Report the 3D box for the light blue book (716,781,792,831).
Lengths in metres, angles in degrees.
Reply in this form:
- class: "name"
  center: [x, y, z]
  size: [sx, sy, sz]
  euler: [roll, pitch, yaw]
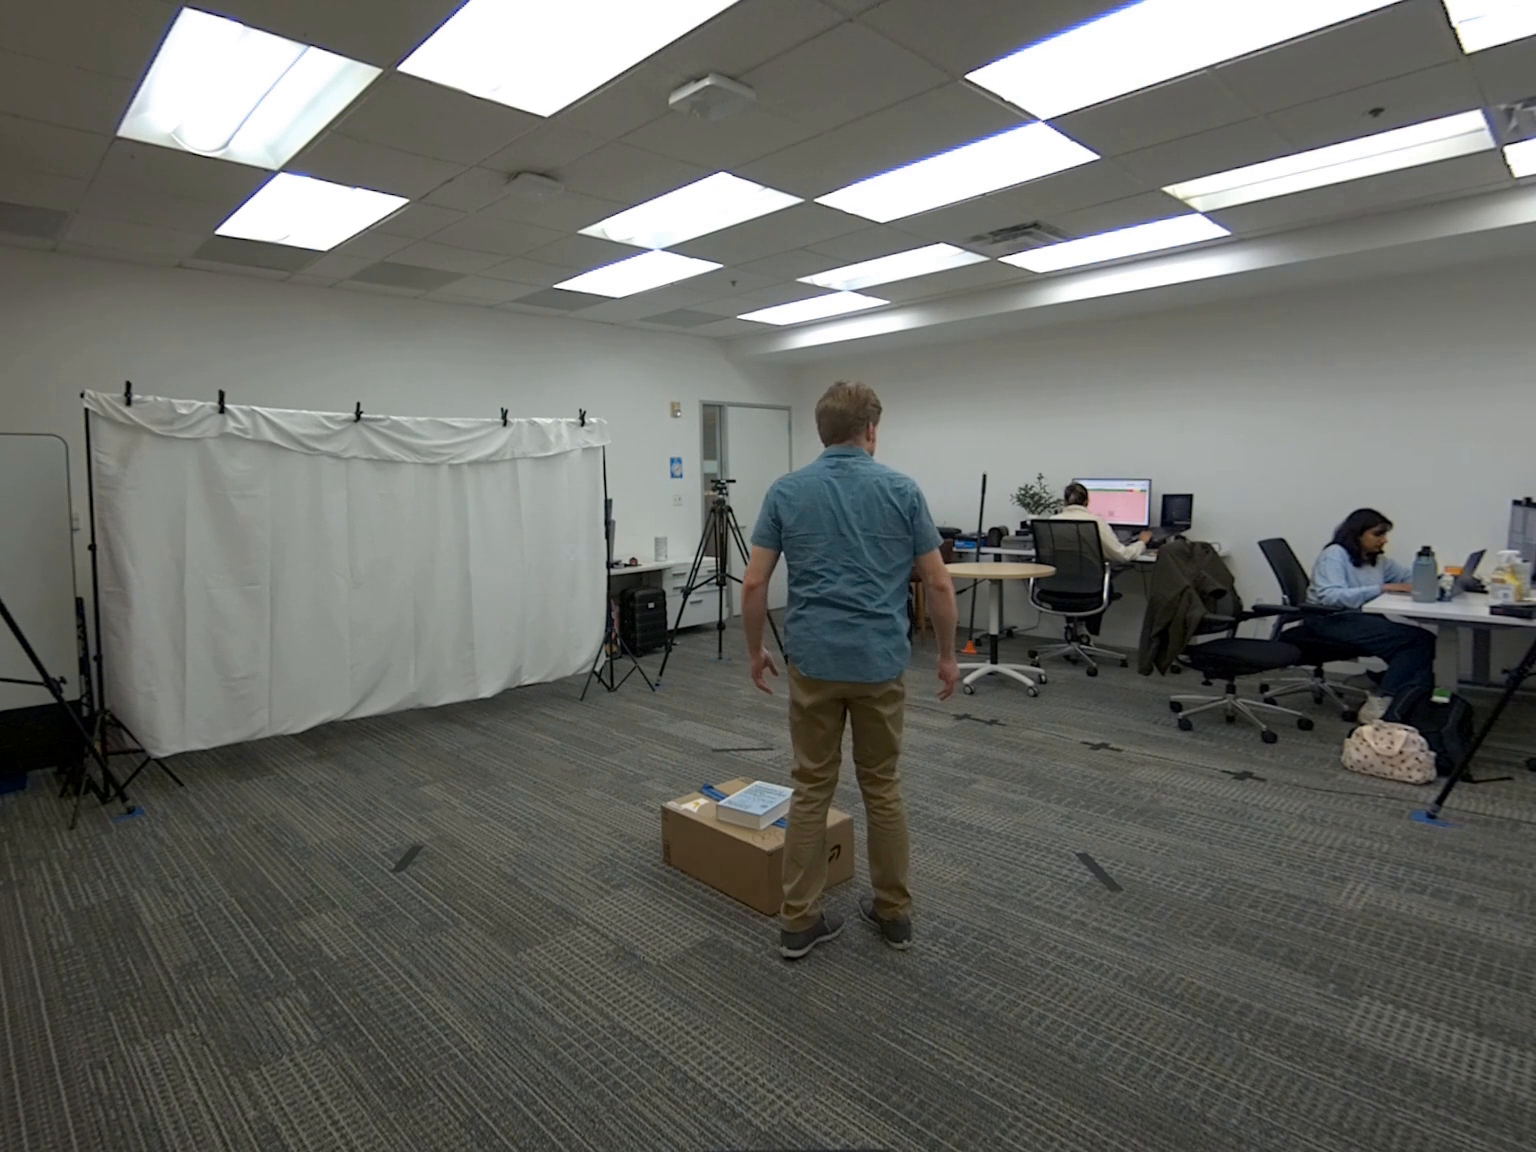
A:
- class: "light blue book"
  center: [-0.029, 0.812, 3.050]
  size: [0.197, 0.059, 0.255]
  euler: [3, 8, 33]
